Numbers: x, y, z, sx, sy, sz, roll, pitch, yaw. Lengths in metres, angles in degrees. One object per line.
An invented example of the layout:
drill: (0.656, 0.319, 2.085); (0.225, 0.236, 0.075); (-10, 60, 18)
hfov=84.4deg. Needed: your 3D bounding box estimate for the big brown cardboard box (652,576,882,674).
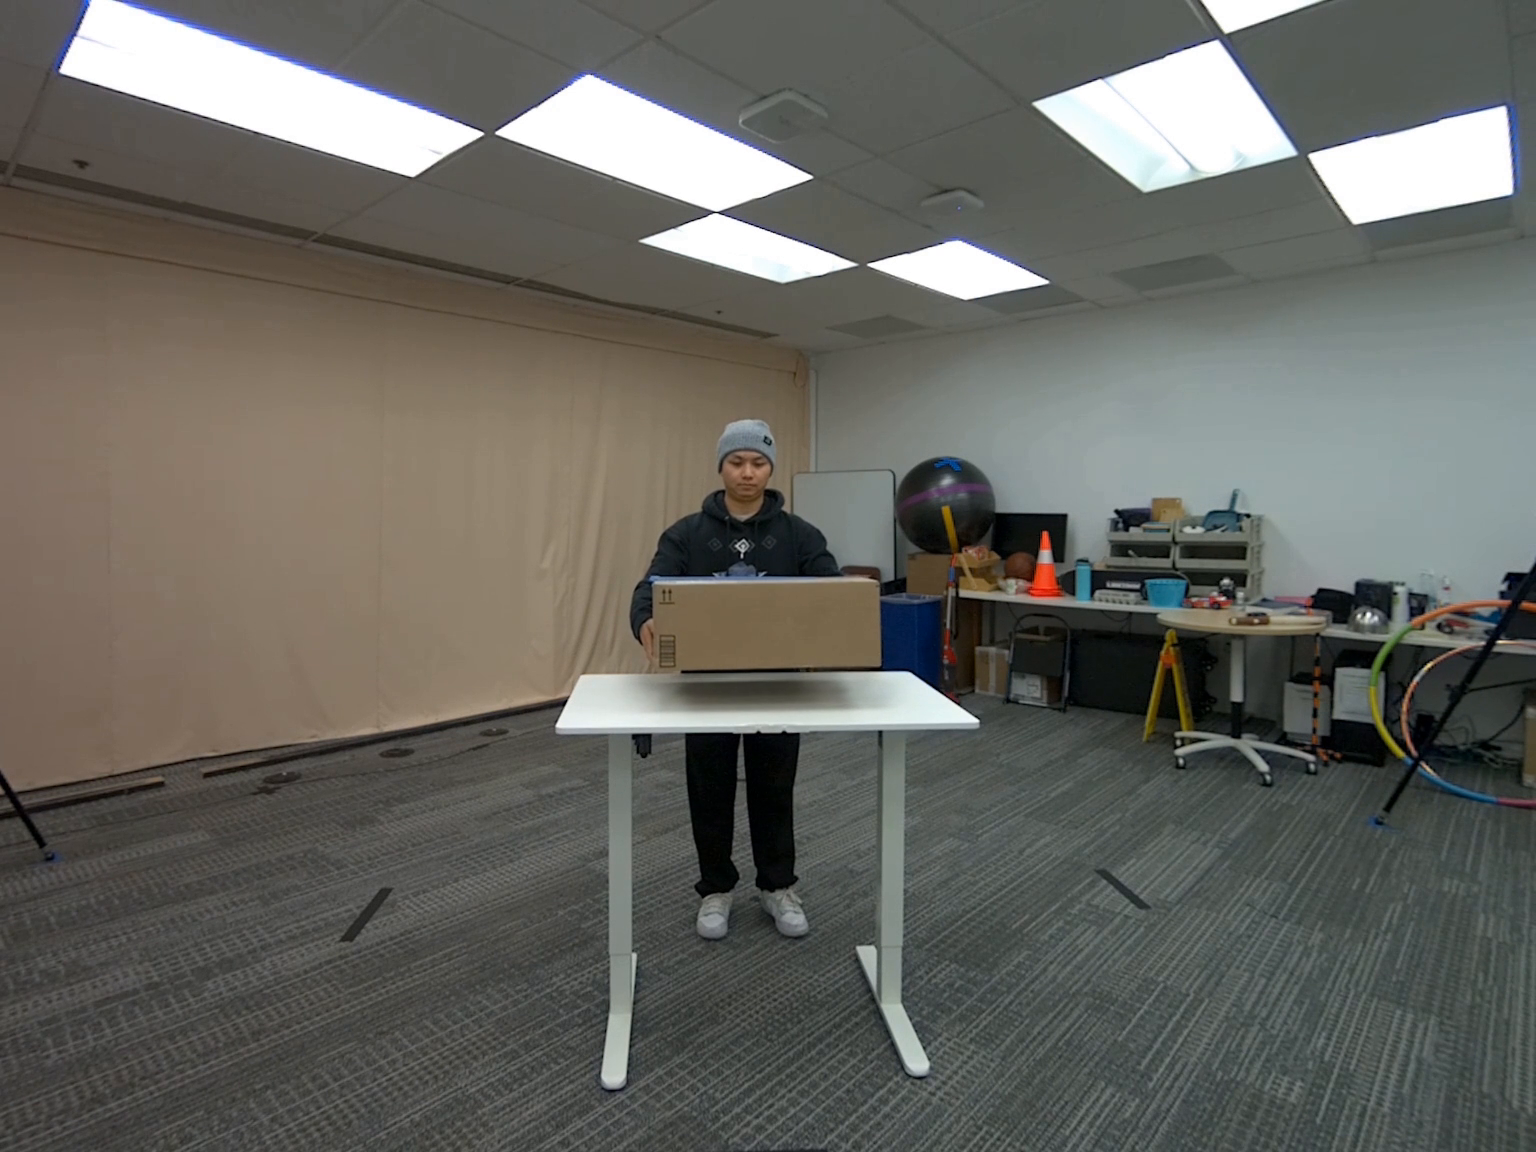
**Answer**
big brown cardboard box: (-0.025, 0.124, 2.285); (0.586, 0.233, 0.419); (1, 0, -5)
